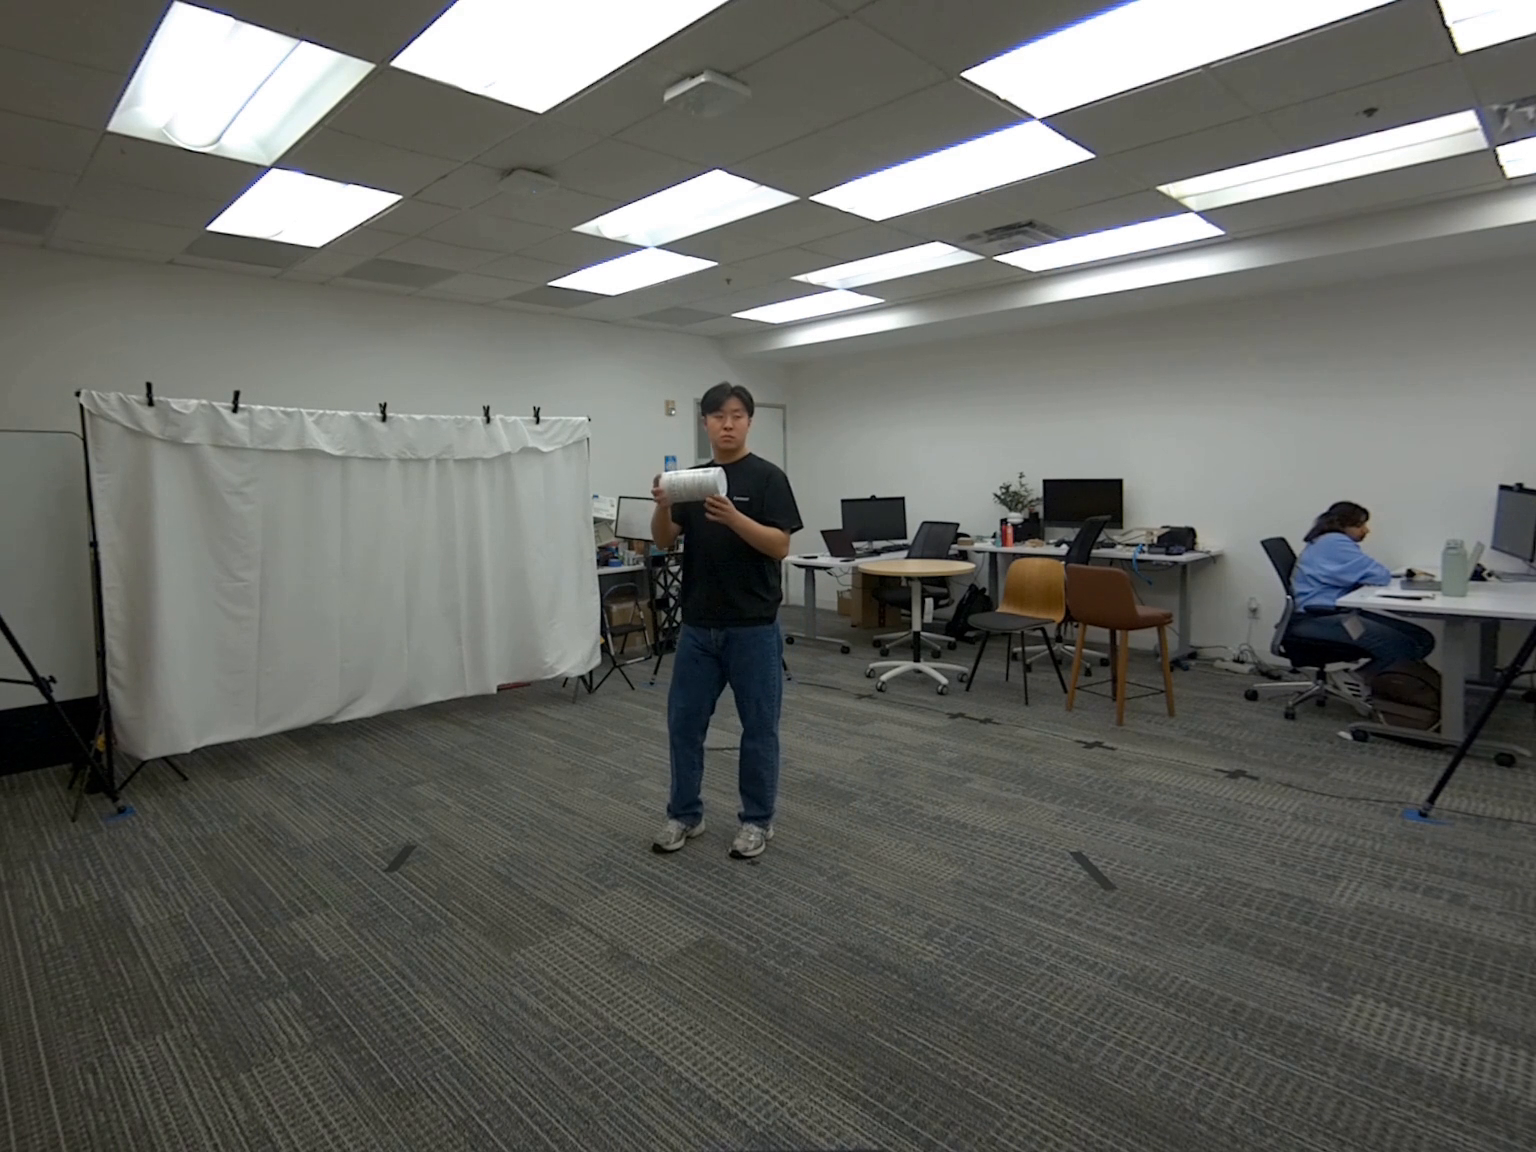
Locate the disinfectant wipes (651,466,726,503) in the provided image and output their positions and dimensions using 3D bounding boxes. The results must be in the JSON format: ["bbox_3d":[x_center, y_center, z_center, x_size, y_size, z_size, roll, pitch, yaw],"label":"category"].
[{"bbox_3d":[-0.270,-0.302,2.946,0.221,0.117,0.116,-7,2,21],"label":"disinfectant wipes"}]
